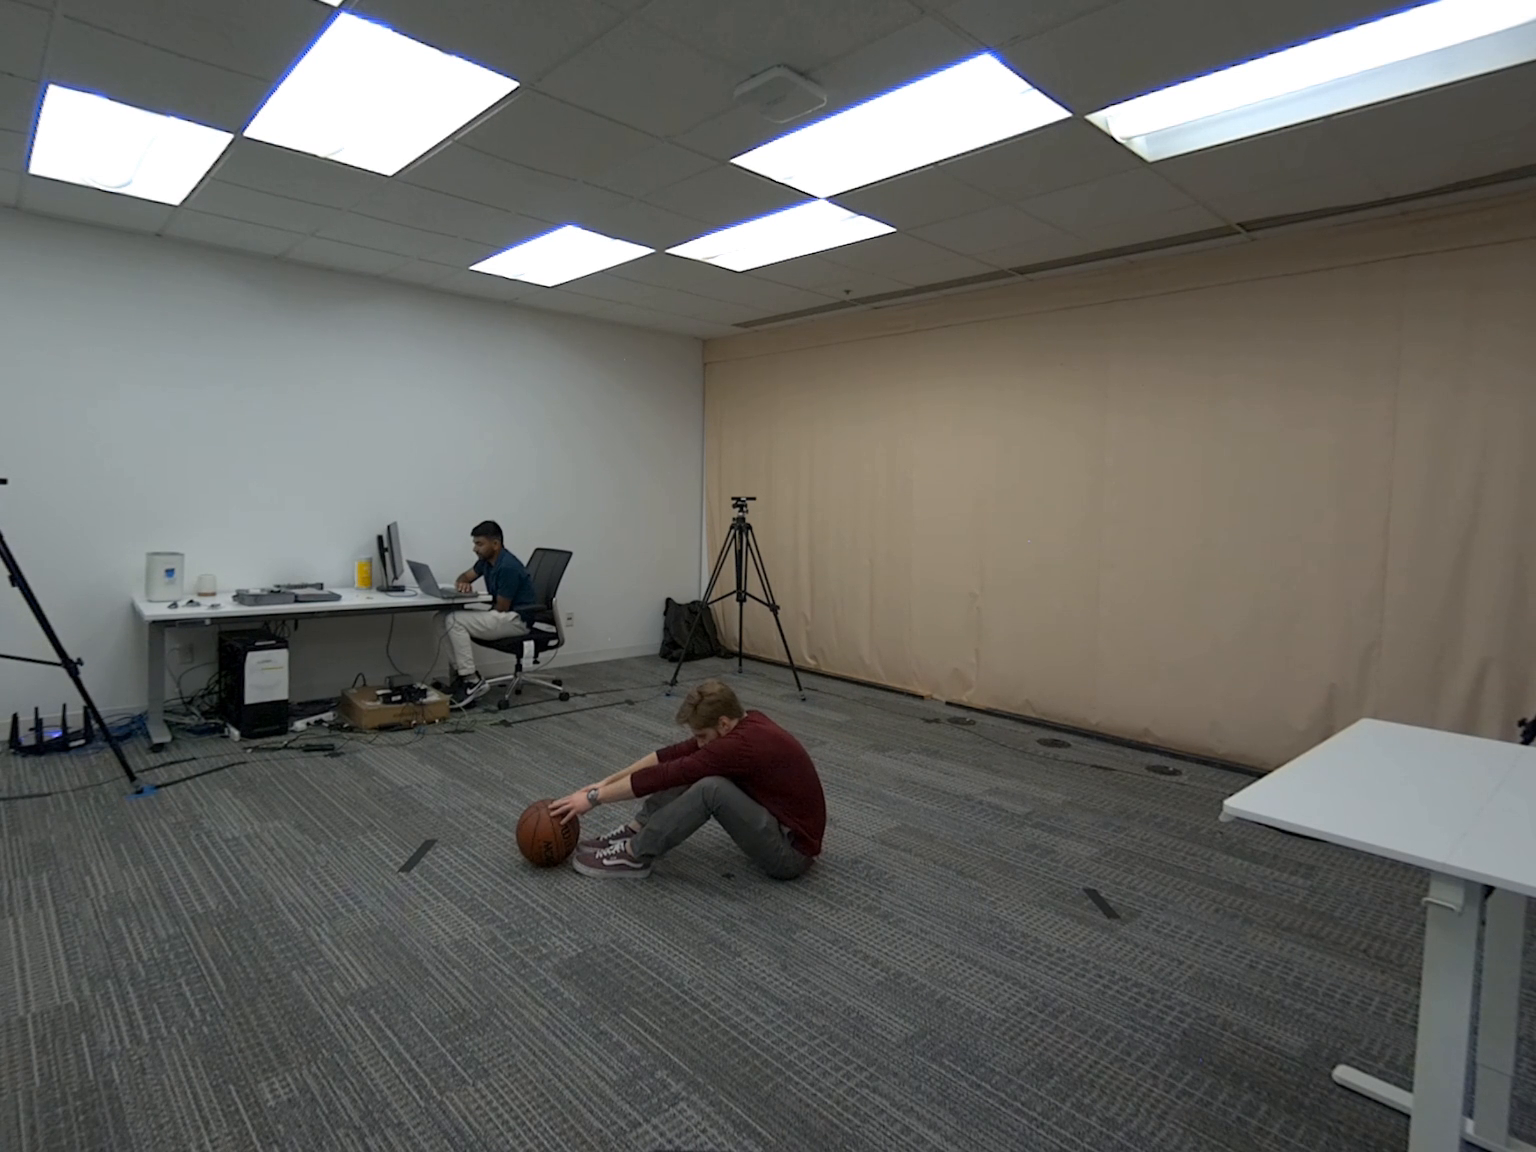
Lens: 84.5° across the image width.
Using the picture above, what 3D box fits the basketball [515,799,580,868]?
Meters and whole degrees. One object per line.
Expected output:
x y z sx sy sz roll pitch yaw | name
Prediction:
-0.835 0.961 3.177 0.236 0.235 0.237 1 4 -1 | basketball
